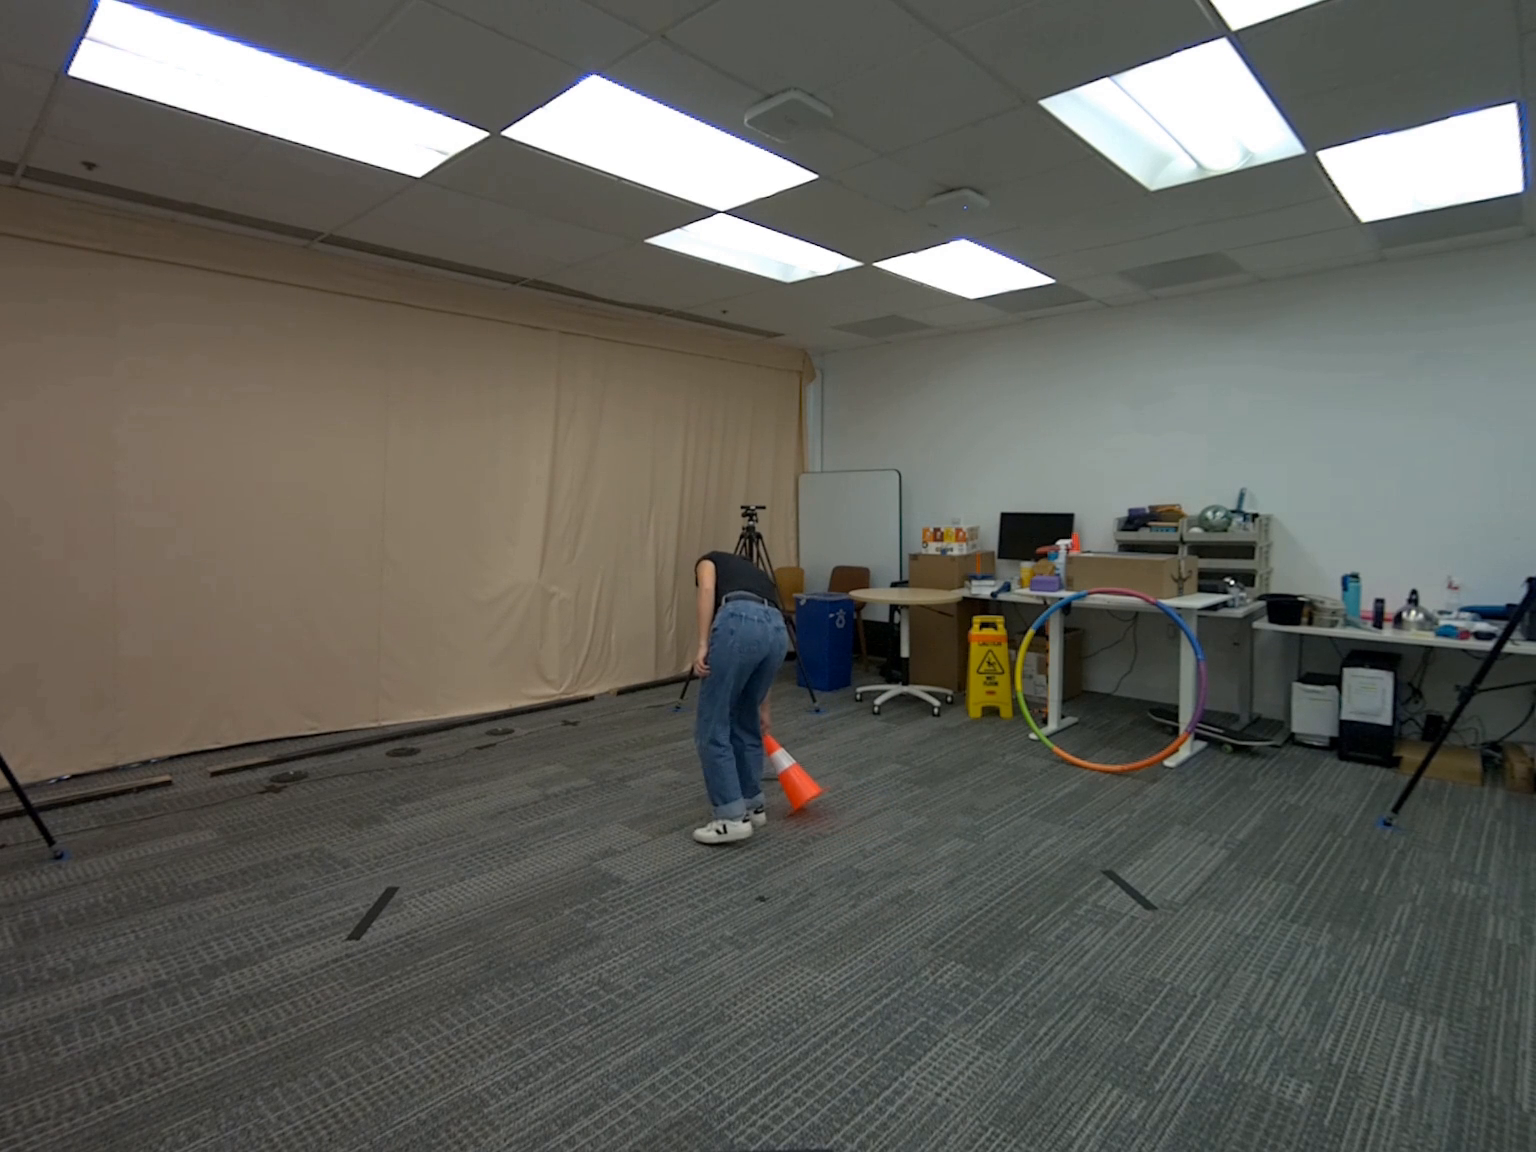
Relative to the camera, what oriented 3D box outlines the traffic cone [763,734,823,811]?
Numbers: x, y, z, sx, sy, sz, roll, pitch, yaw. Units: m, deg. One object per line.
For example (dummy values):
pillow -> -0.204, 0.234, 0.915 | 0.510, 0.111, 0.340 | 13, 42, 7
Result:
traffic cone -> 0.081, 0.866, 3.849 | 0.206, 0.391, 0.199 | -38, -16, 10
